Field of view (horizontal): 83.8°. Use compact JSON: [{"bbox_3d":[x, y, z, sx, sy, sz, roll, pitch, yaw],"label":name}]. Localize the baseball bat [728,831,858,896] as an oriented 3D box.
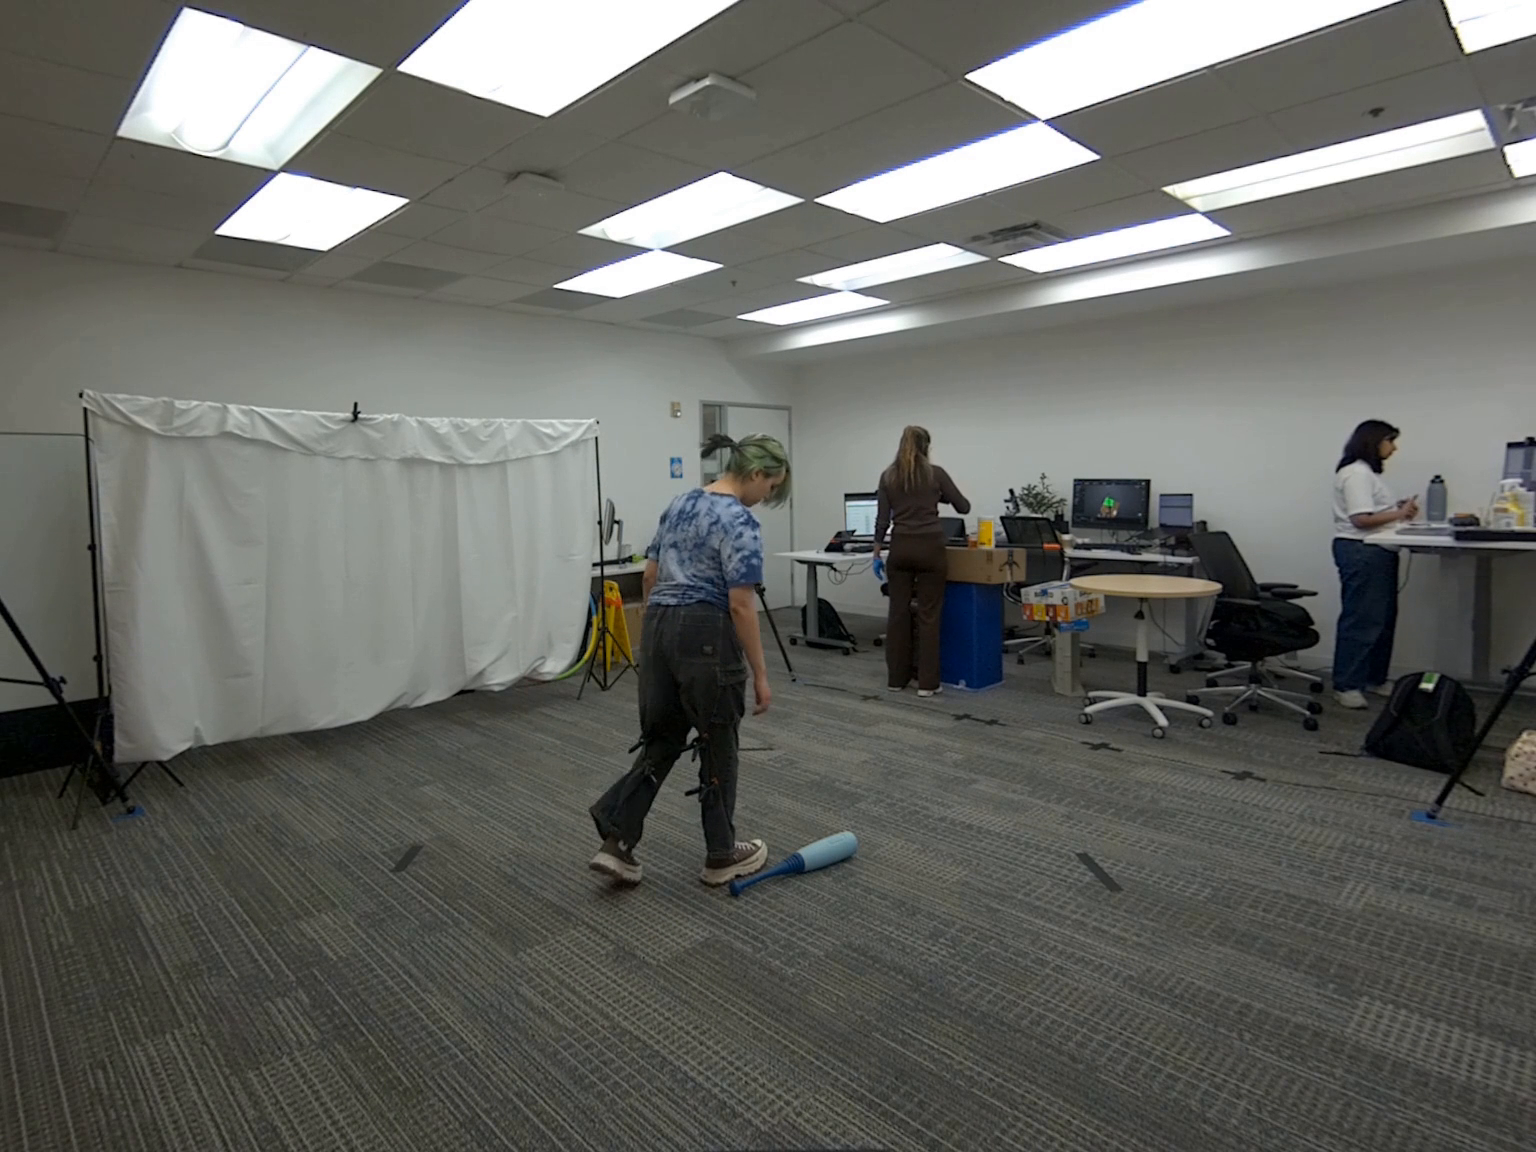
[{"bbox_3d":[0.097,1.021,3.008,0.531,0.088,0.091,-10,9,-34],"label":"baseball bat"}]
